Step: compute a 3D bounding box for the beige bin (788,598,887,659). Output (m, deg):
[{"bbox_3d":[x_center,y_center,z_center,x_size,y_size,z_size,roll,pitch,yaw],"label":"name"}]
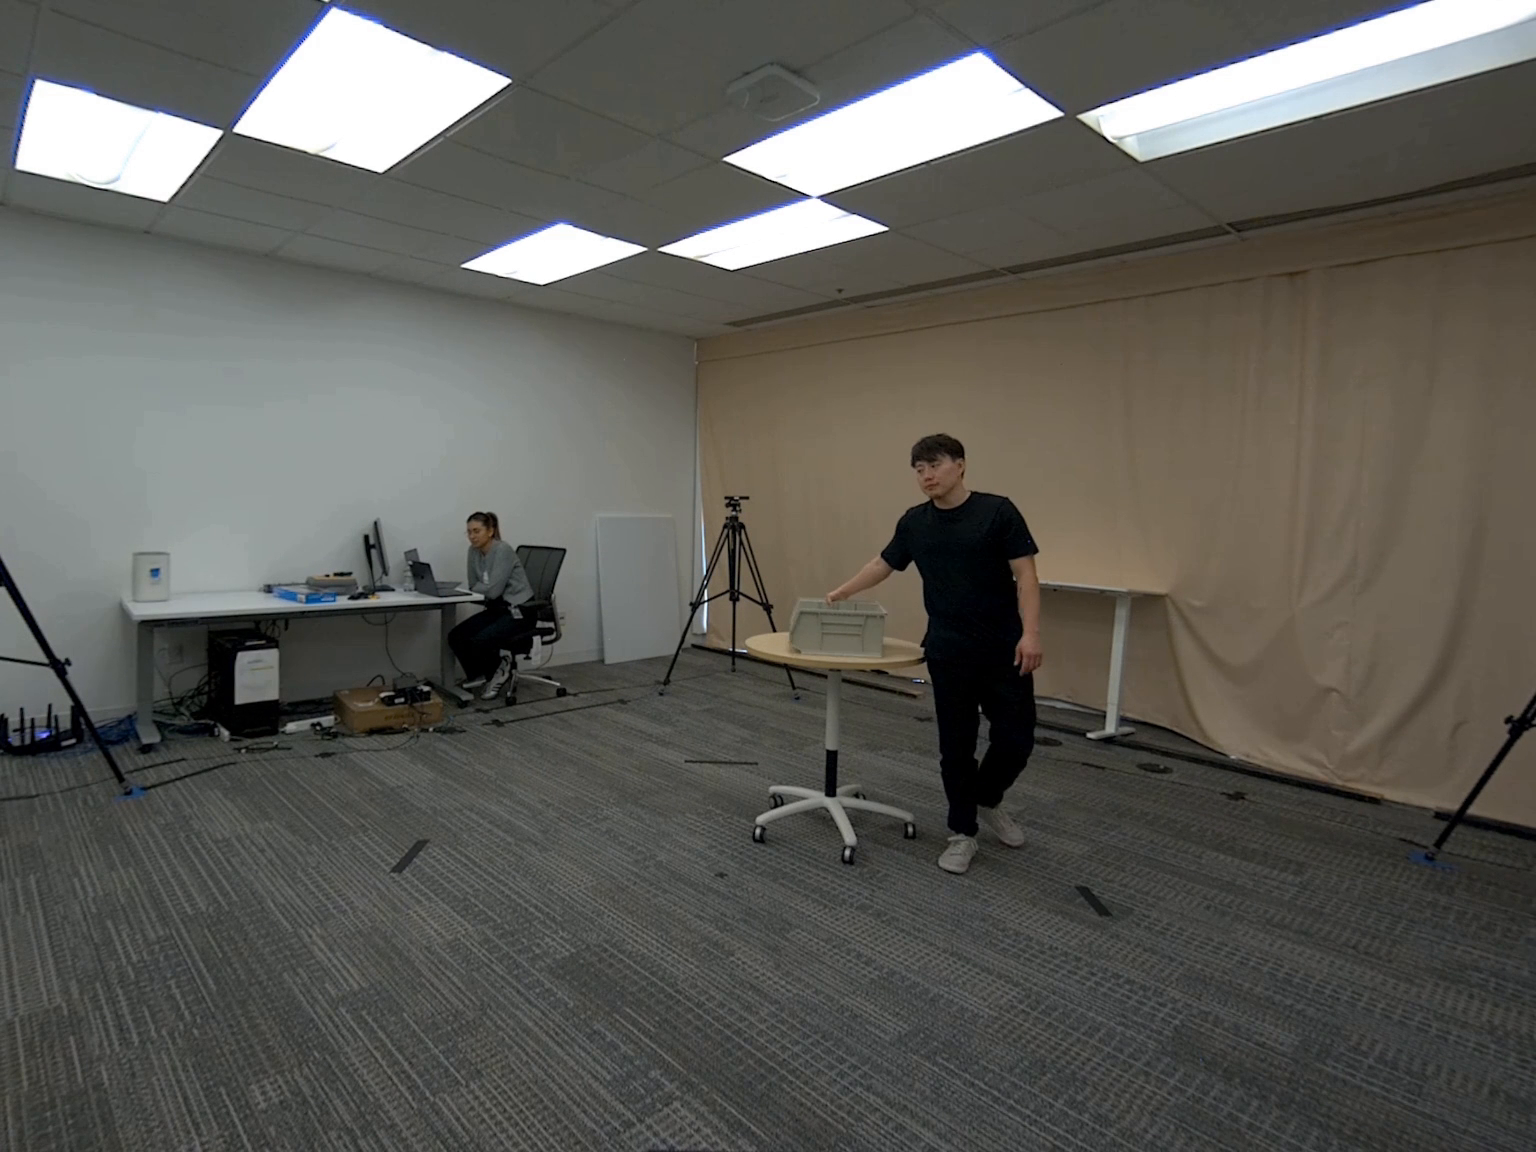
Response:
[{"bbox_3d":[0.279,0.211,3.490,0.378,0.188,0.422,3,4,3],"label":"beige bin"}]
